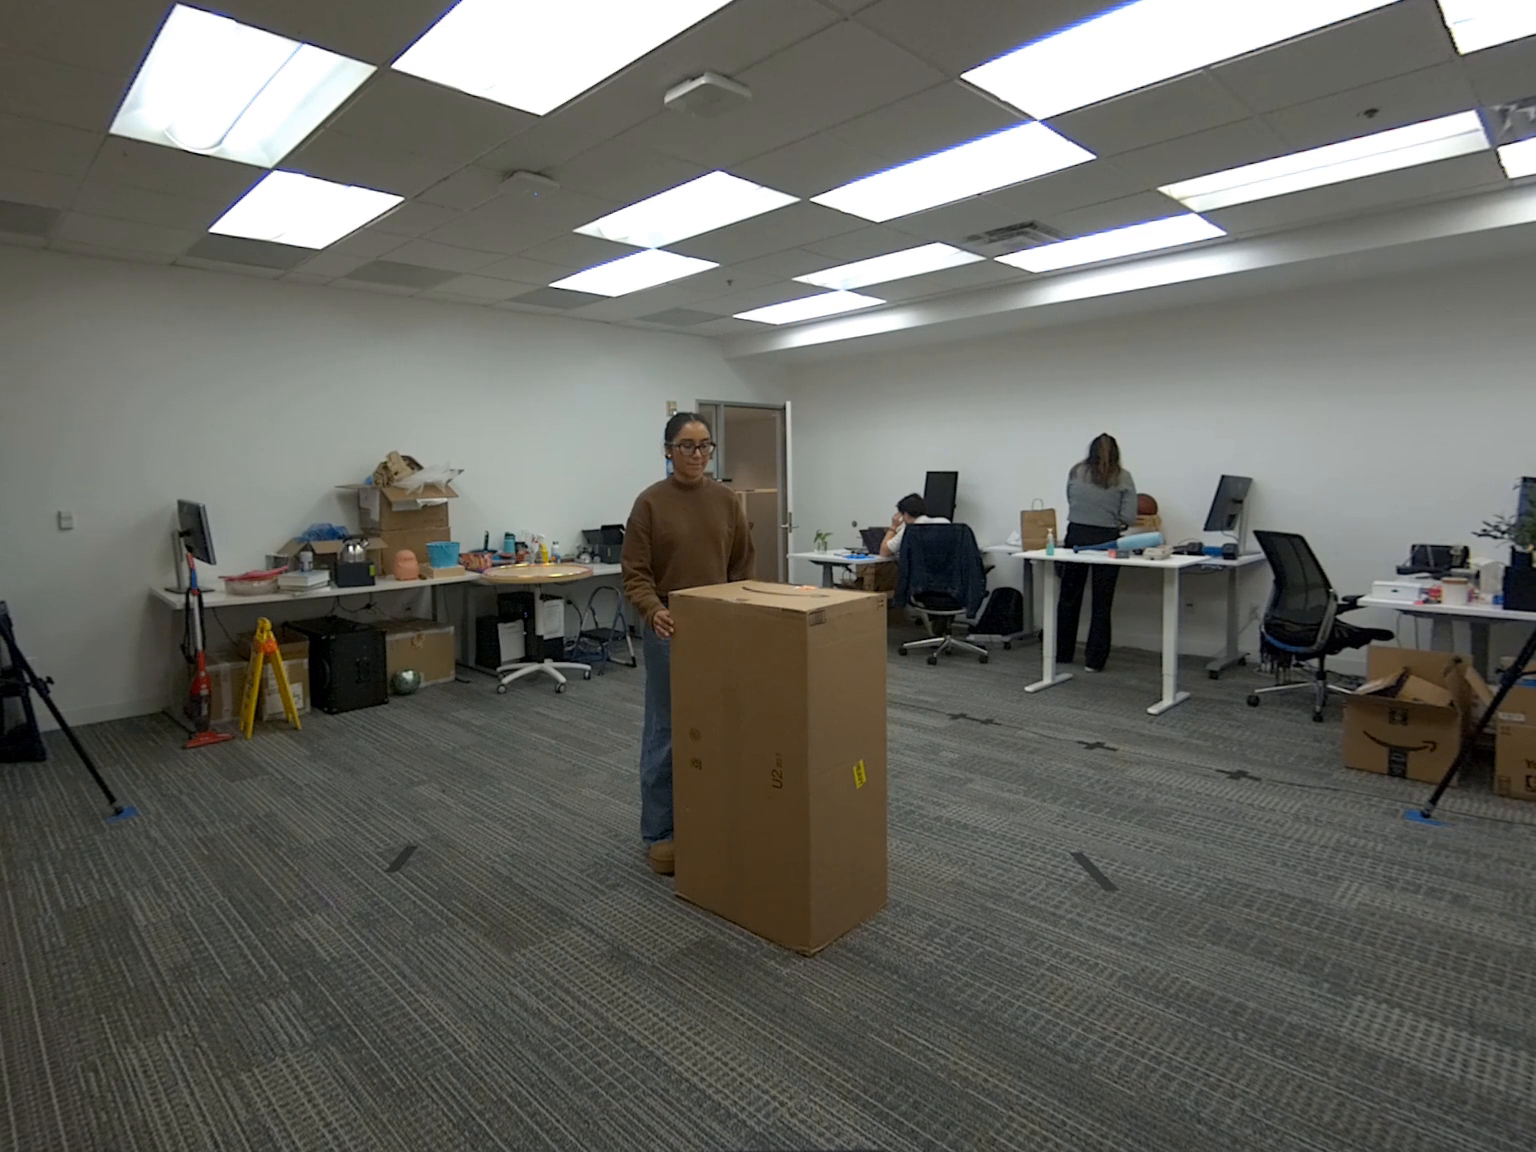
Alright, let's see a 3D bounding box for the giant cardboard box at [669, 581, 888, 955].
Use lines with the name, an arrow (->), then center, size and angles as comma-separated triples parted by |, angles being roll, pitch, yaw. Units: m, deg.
giant cardboard box -> 0.042, 0.568, 2.792 | 0.595, 1.022, 0.415 | 4, 6, 42
